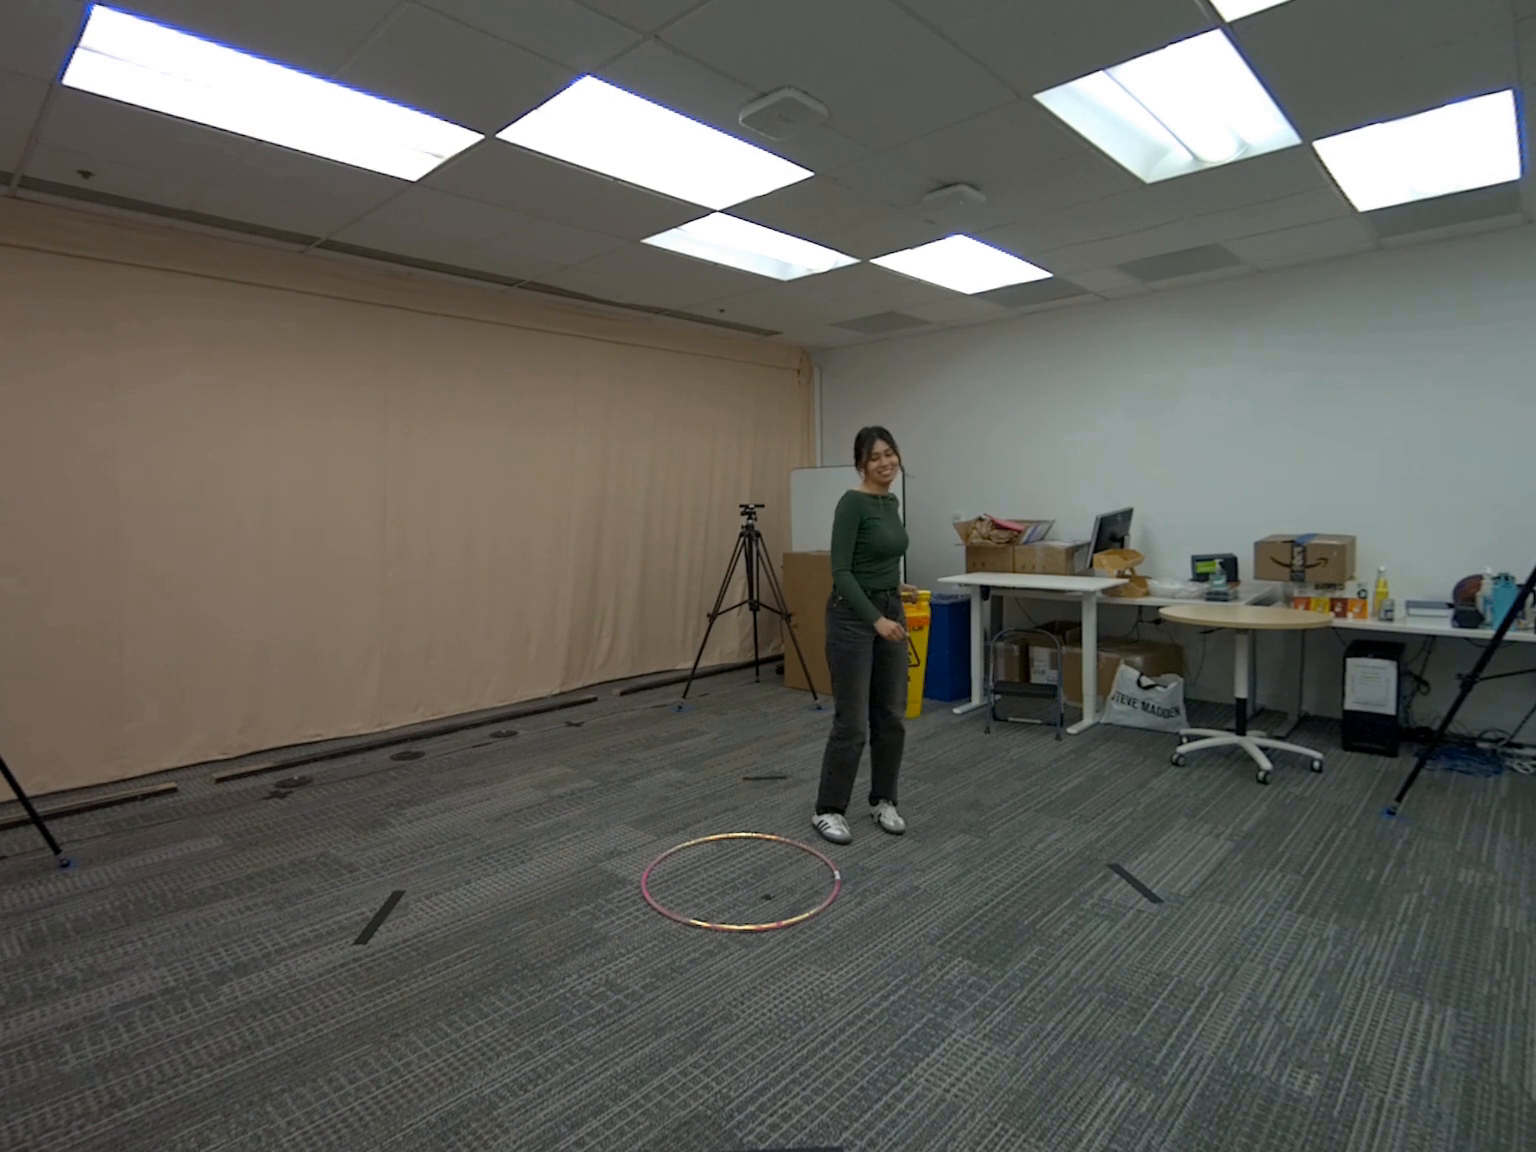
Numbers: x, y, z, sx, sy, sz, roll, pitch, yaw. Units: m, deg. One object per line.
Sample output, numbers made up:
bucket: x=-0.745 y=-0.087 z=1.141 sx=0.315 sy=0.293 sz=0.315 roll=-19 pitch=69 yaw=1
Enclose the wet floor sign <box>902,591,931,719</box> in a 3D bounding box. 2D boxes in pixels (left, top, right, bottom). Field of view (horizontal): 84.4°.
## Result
wet floor sign: x=0.631 y=0.345 z=3.975 sx=0.277 sy=0.638 sz=0.299 roll=-3 pitch=33 yaw=-19
